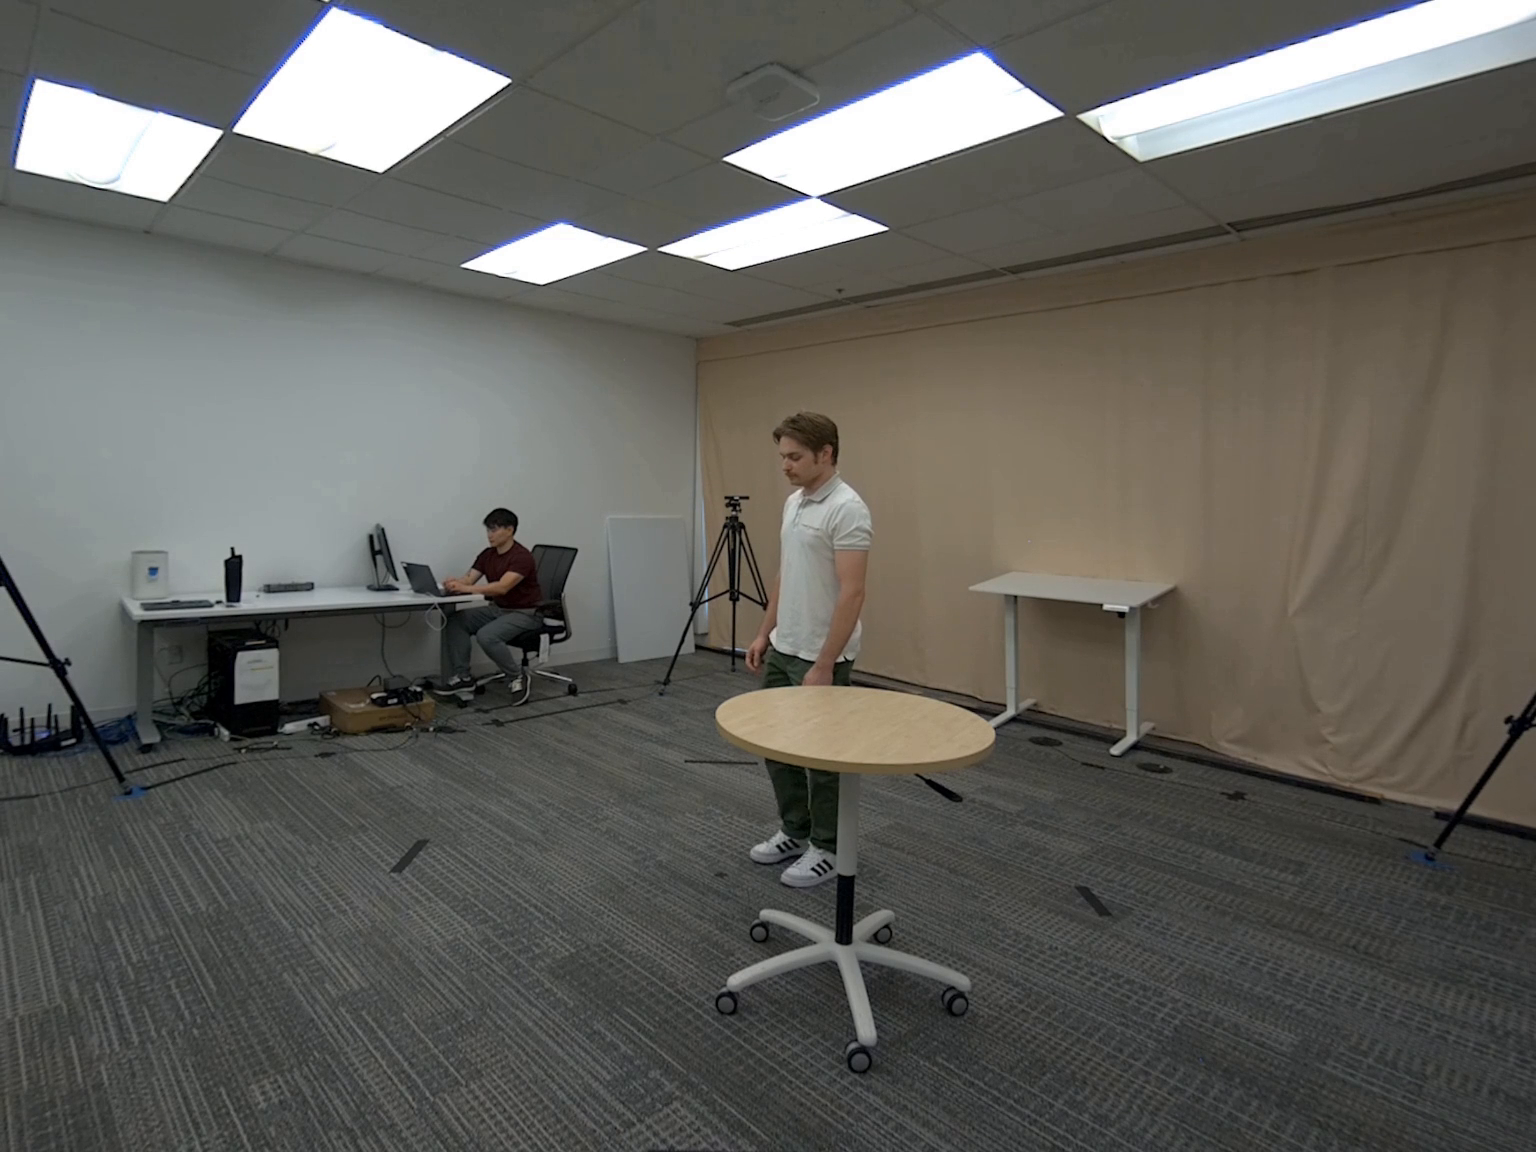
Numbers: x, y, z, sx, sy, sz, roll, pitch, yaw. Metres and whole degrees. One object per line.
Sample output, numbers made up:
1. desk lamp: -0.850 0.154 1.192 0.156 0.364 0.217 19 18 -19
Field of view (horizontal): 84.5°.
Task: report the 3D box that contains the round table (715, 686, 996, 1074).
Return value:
1. round table: 0.217 0.795 2.374 0.763 0.791 0.767 2 5 -2
